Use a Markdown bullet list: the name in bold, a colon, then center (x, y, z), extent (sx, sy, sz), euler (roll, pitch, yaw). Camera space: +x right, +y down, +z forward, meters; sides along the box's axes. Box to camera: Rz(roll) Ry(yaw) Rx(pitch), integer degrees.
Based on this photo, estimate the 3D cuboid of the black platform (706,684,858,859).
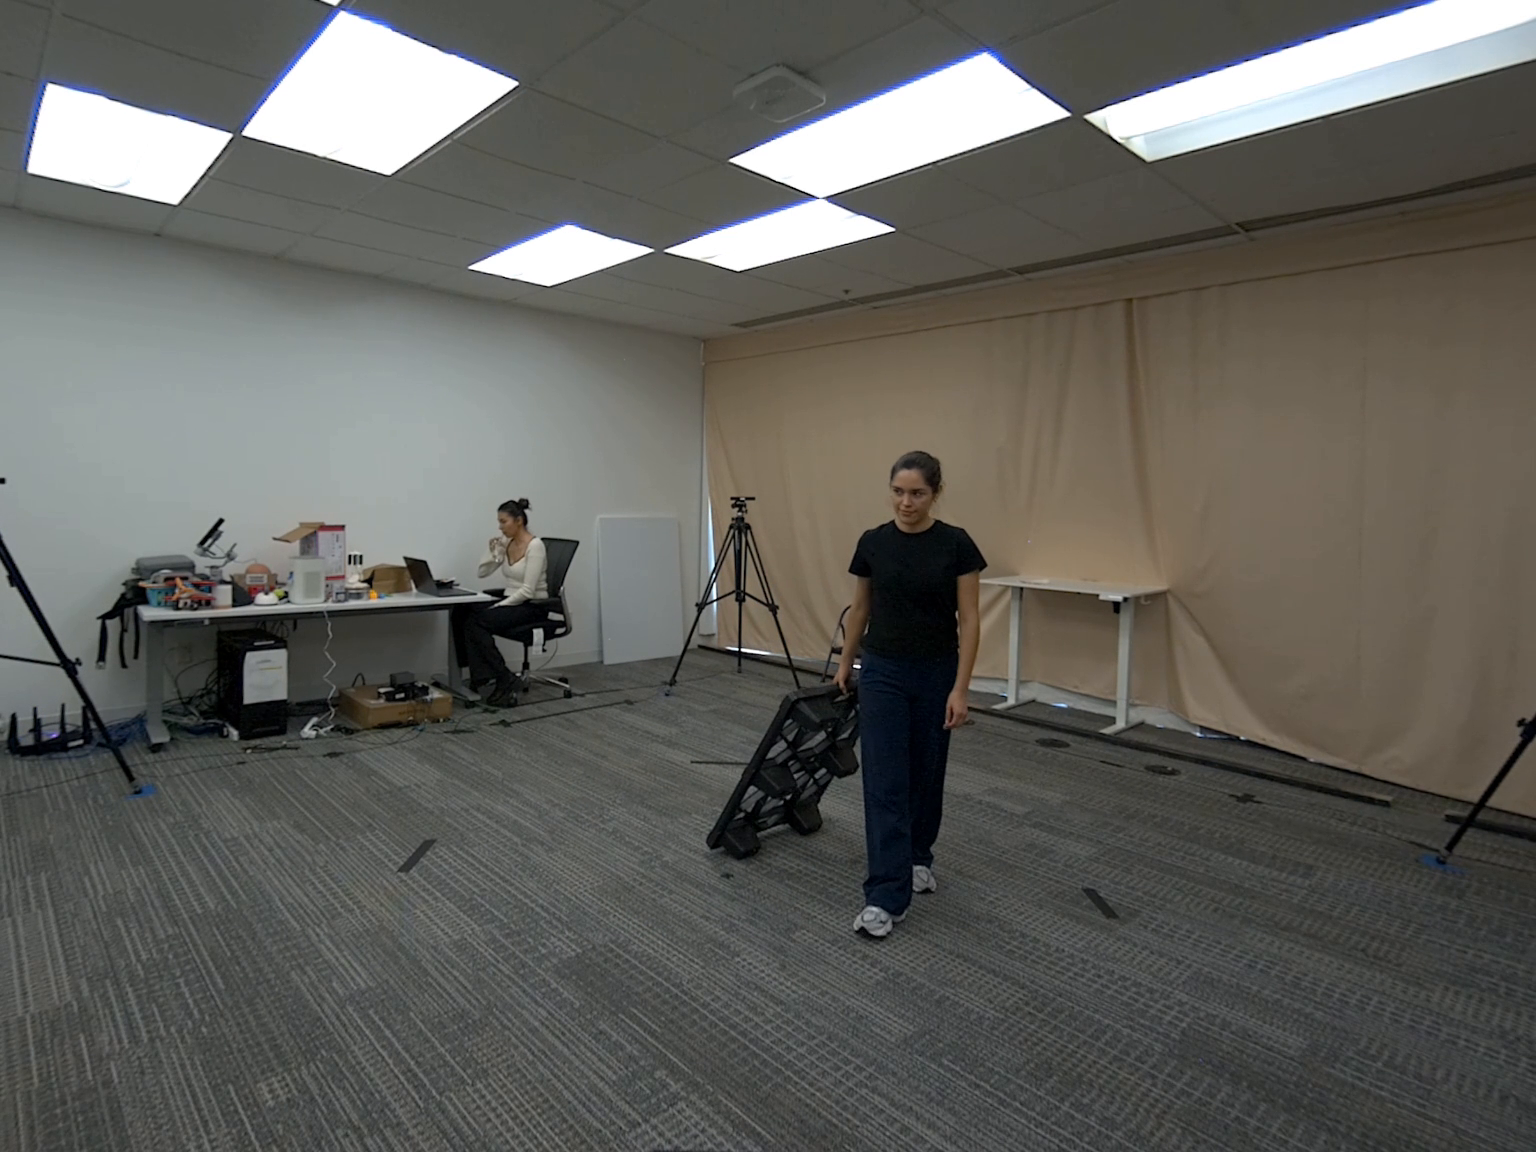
- **black platform**: center (0.149, 0.748, 3.266), extent (0.591, 0.799, 0.148), euler (-3, 38, -45)
